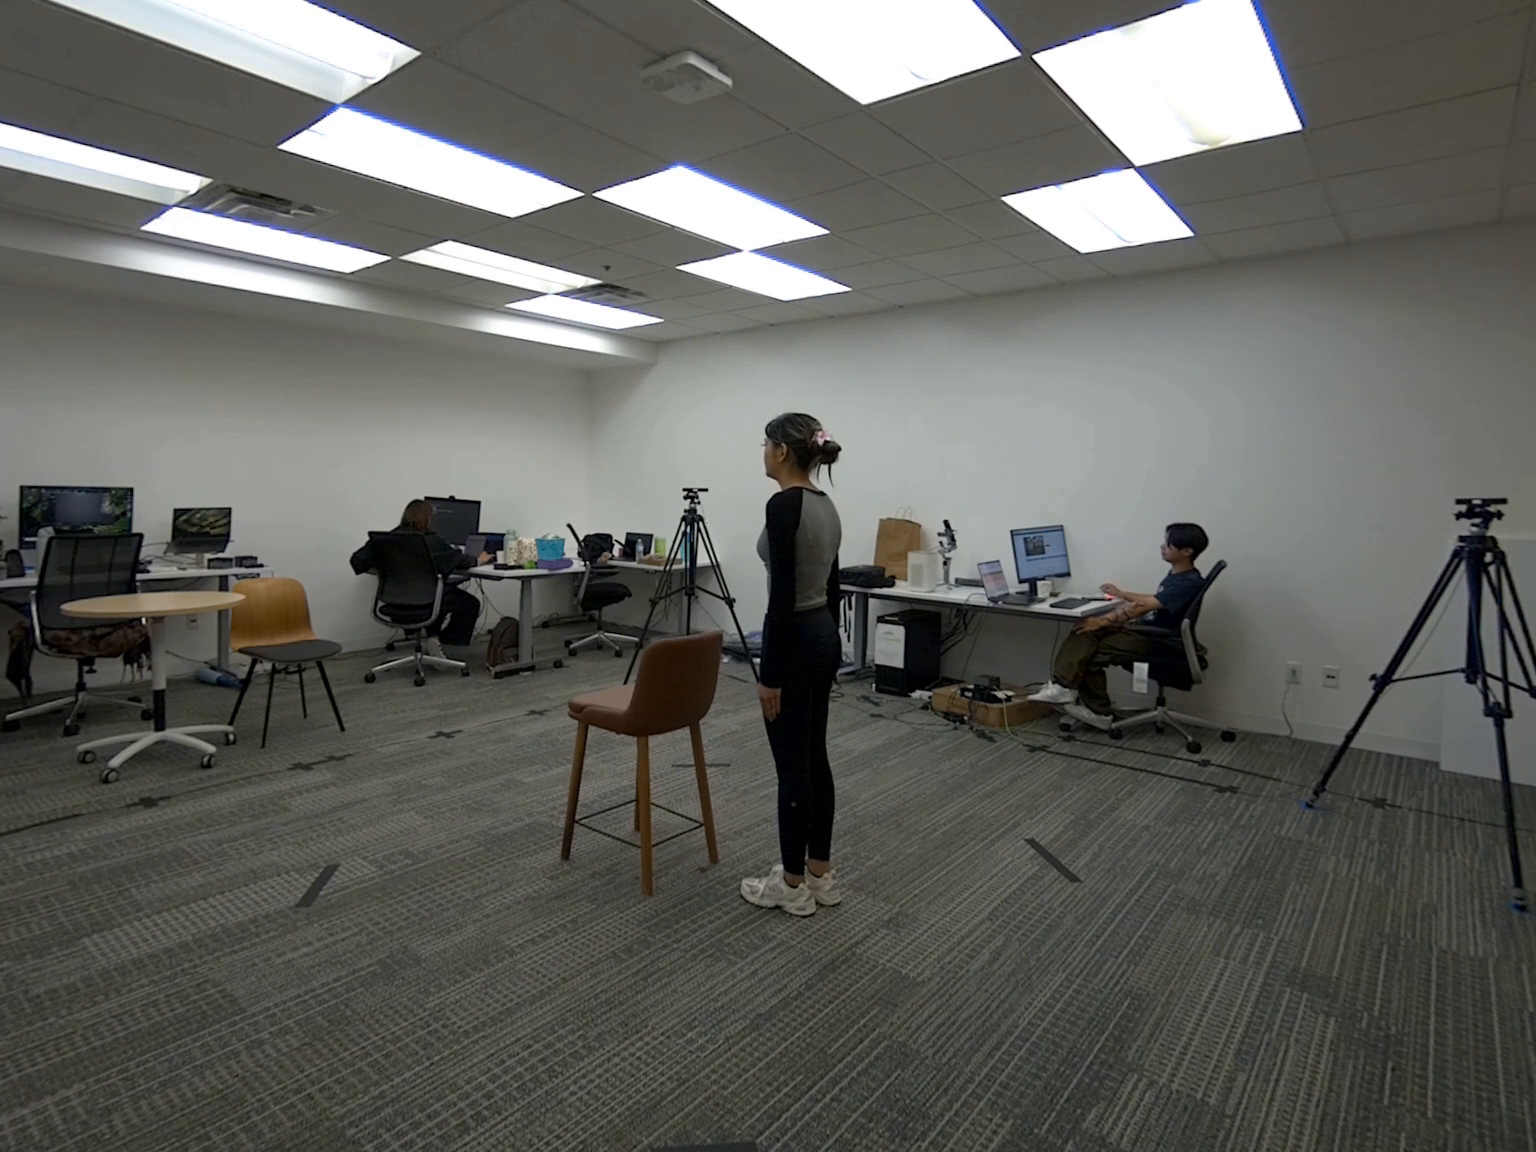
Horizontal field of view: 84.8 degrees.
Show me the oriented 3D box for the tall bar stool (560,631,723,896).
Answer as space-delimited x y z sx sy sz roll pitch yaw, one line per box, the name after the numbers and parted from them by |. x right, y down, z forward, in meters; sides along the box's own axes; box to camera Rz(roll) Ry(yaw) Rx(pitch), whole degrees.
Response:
-0.469 0.625 3.158 0.484 0.887 0.442 6 5 39 | tall bar stool
